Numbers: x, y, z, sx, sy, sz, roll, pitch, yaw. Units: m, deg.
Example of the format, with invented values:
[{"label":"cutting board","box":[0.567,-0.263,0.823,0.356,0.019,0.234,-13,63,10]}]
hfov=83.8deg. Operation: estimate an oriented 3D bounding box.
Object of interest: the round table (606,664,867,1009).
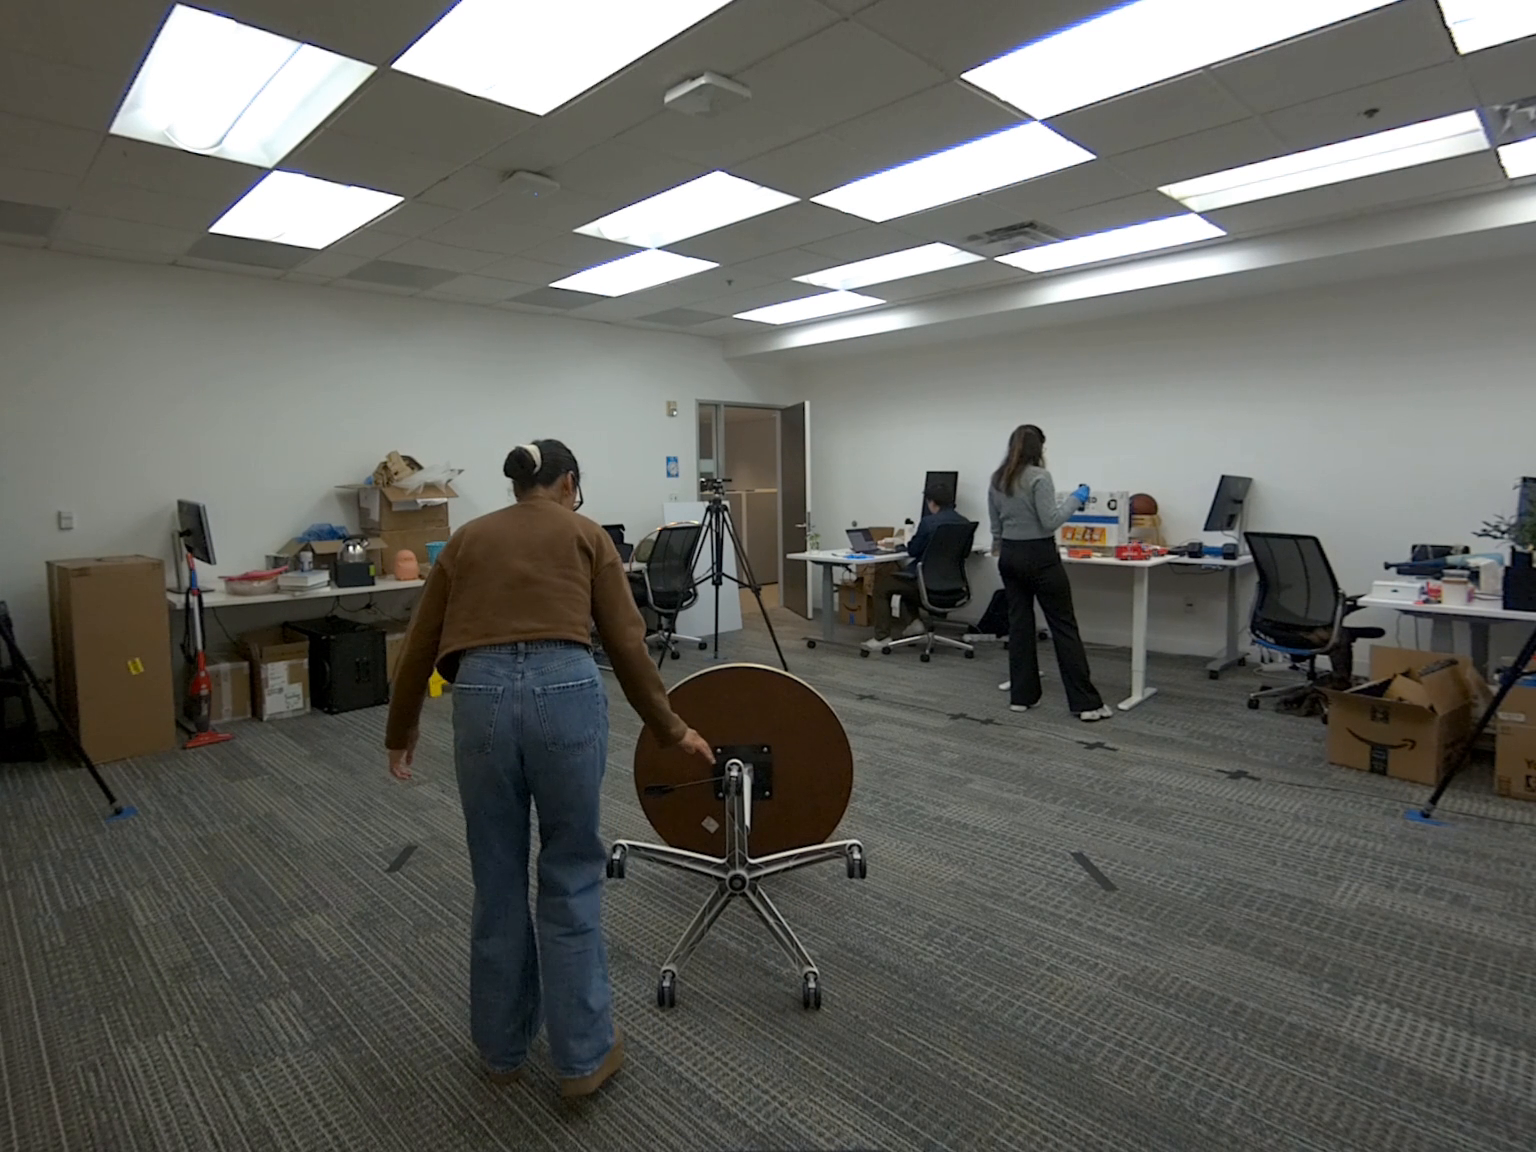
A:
[{"label":"round table","box":[-0.087,0.760,2.595,0.766,0.757,0.799,-1,10,2]}]
